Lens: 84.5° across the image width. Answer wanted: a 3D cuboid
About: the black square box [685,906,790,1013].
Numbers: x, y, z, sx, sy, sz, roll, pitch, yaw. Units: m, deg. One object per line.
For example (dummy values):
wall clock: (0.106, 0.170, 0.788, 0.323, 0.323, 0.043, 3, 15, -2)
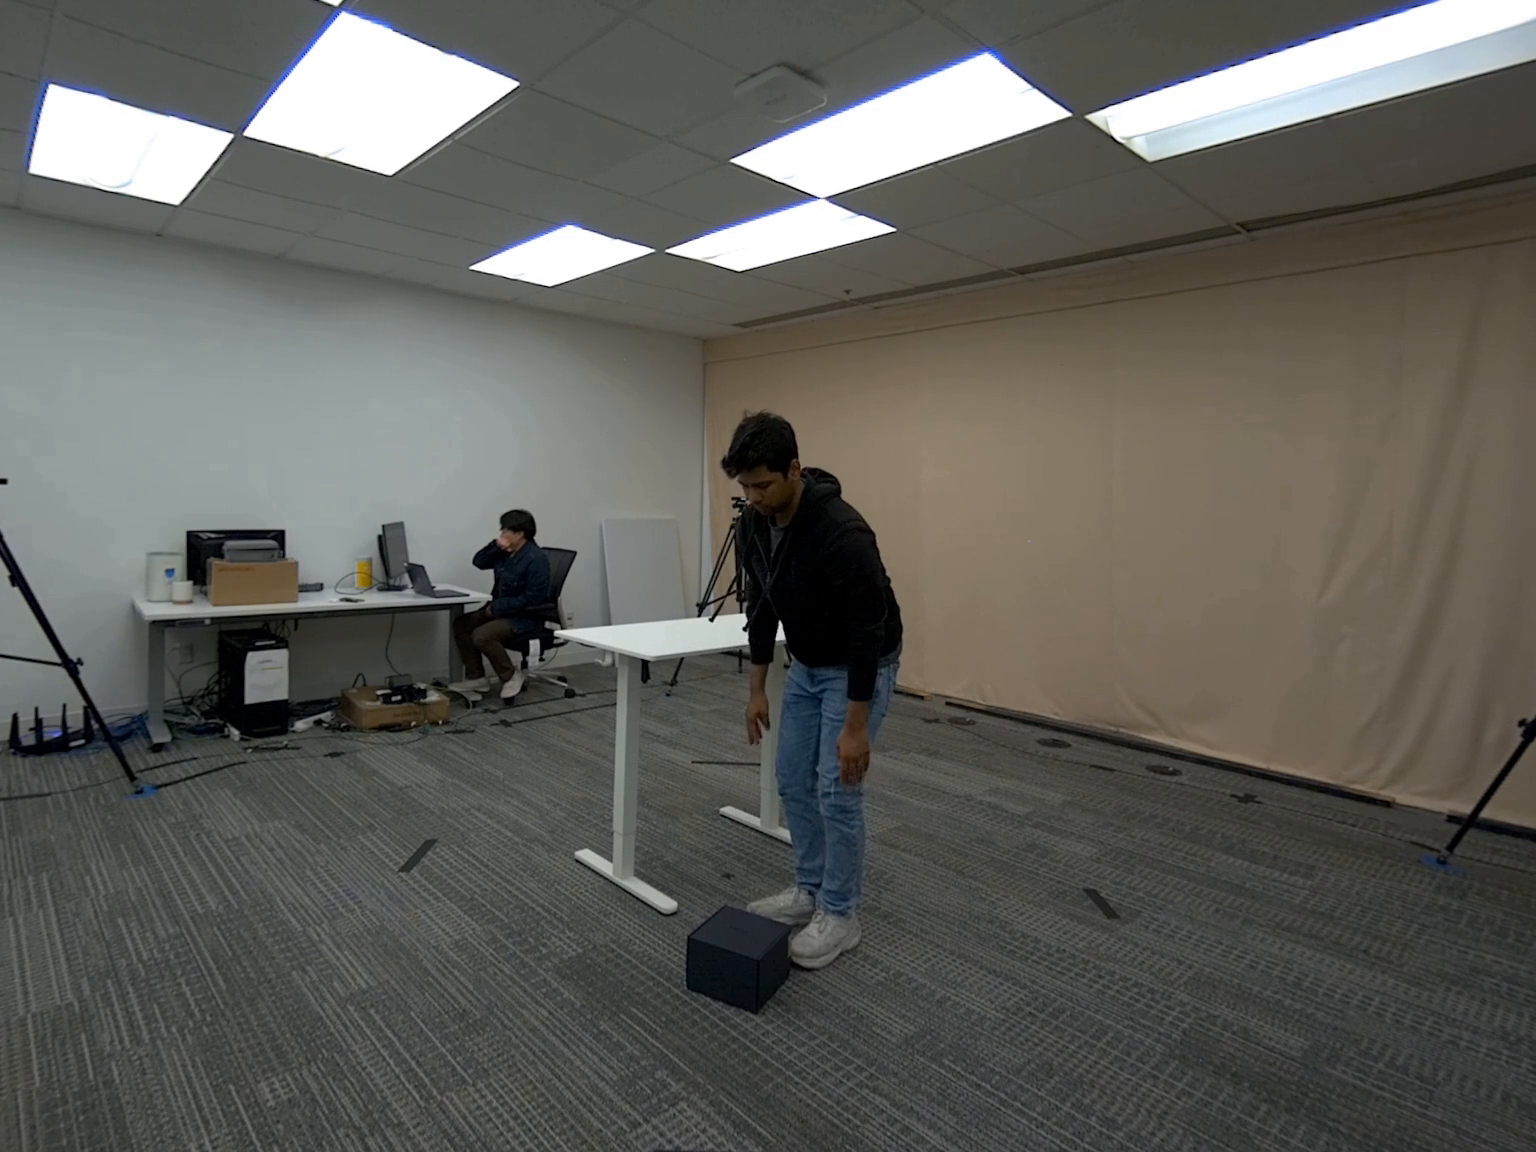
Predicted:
black square box: (-0.086, 1.086, 2.413, 0.233, 0.155, 0.213, 4, 5, 28)
